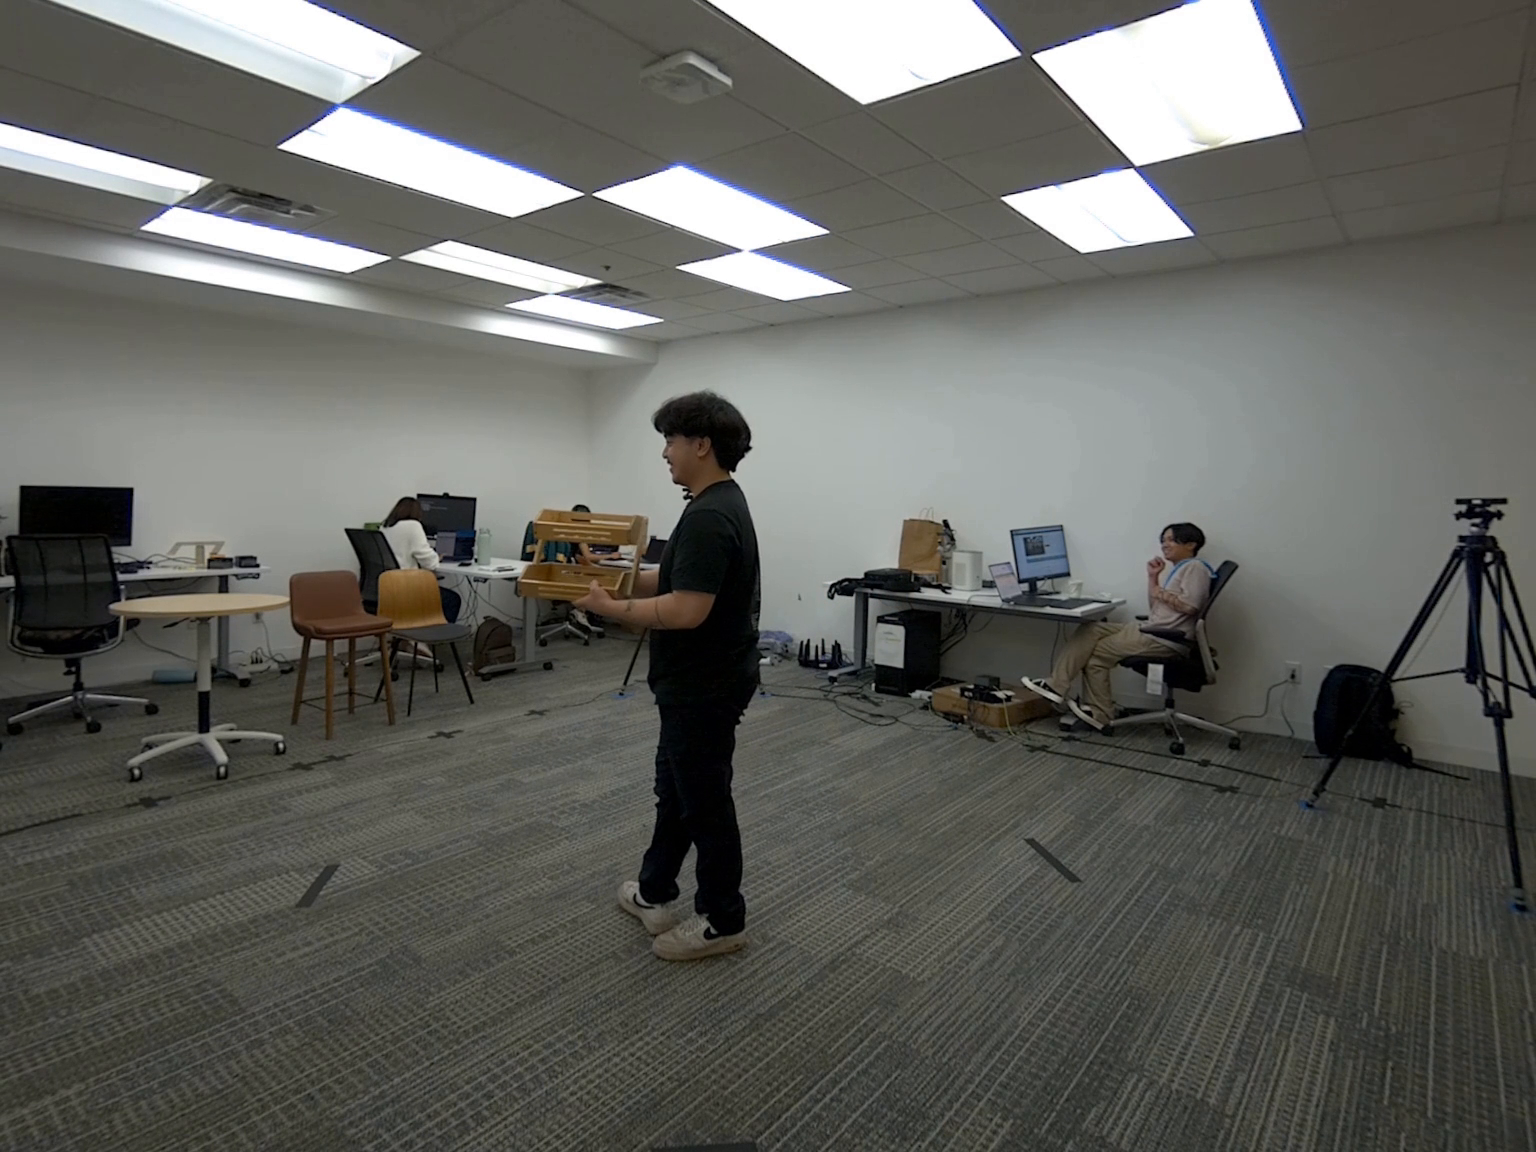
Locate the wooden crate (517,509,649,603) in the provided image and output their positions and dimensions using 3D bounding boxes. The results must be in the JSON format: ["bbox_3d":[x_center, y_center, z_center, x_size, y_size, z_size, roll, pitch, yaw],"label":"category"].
[{"bbox_3d":[-0.566,-0.067,2.570,0.327,0.273,0.300,5,3,6],"label":"wooden crate"}]
